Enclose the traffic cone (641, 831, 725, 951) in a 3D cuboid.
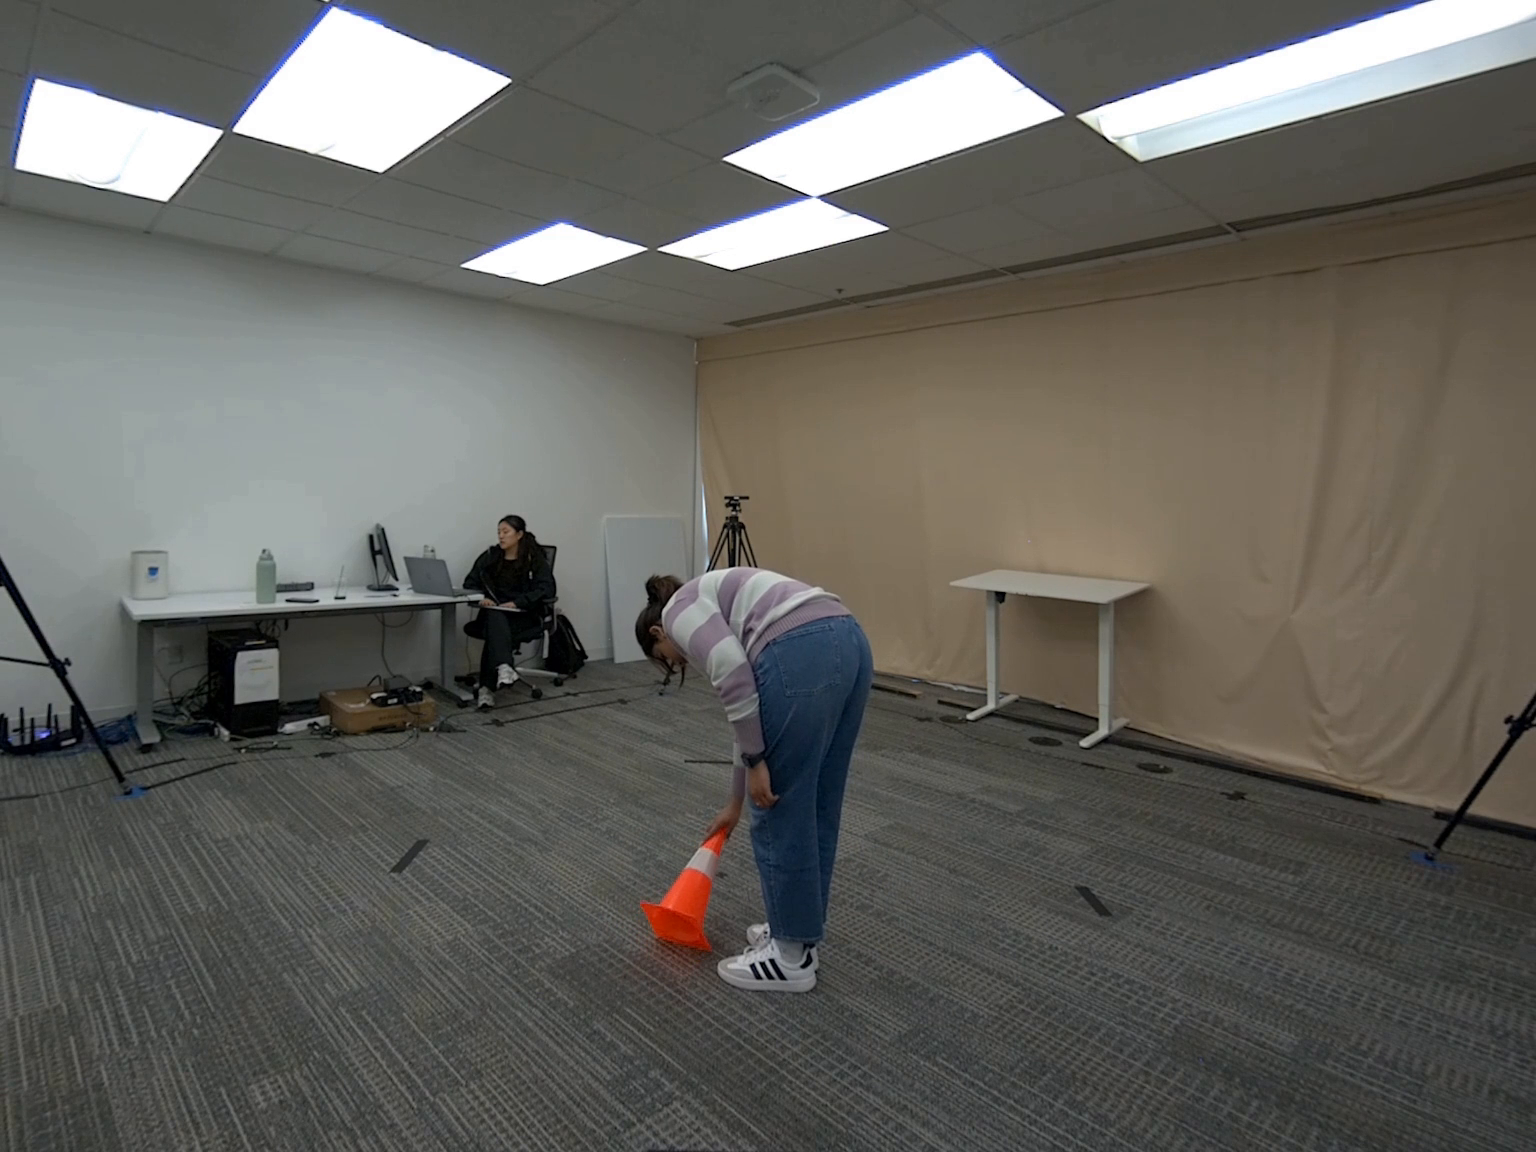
[{"bbox_3d":[-0.222,0.945,2.693,0.207,0.199,0.386,-1,38,28],"label":"traffic cone"}]
